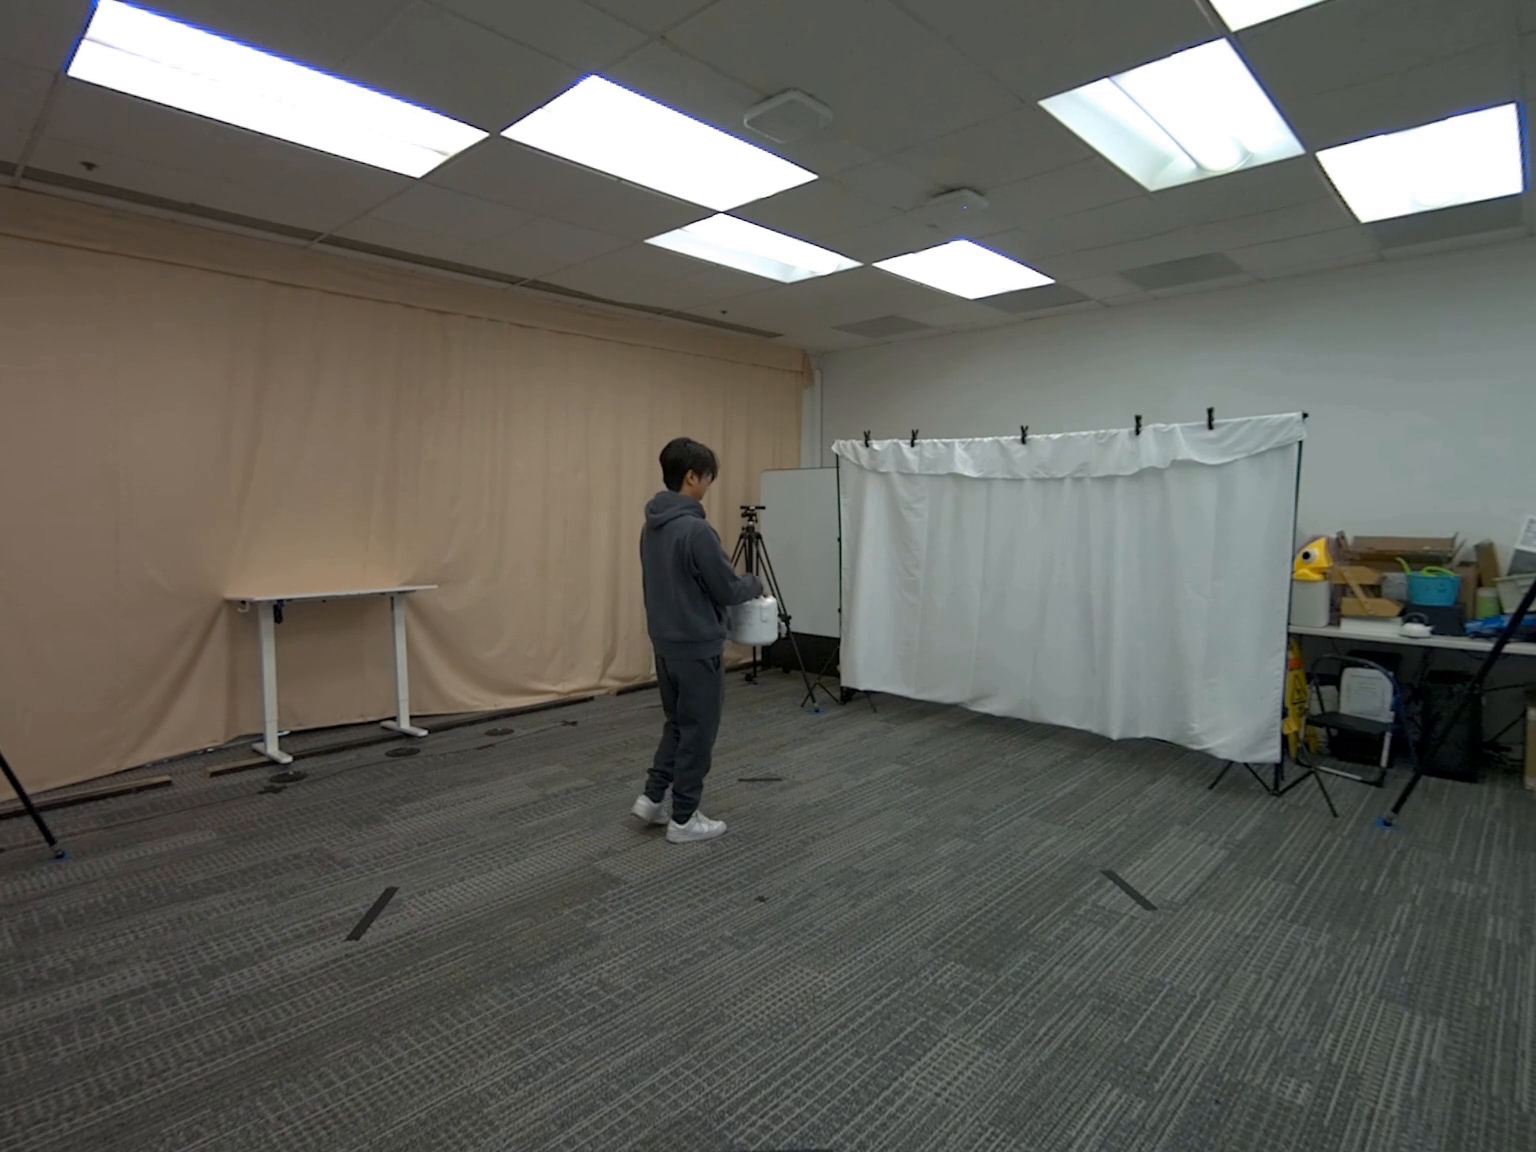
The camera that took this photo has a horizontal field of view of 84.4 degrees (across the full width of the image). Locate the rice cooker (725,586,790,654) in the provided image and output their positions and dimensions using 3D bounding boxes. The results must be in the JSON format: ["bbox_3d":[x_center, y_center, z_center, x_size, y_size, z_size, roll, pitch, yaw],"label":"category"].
[{"bbox_3d":[-0.060,0.181,3.666,0.212,0.231,0.227,-5,9,-27],"label":"rice cooker"}]
